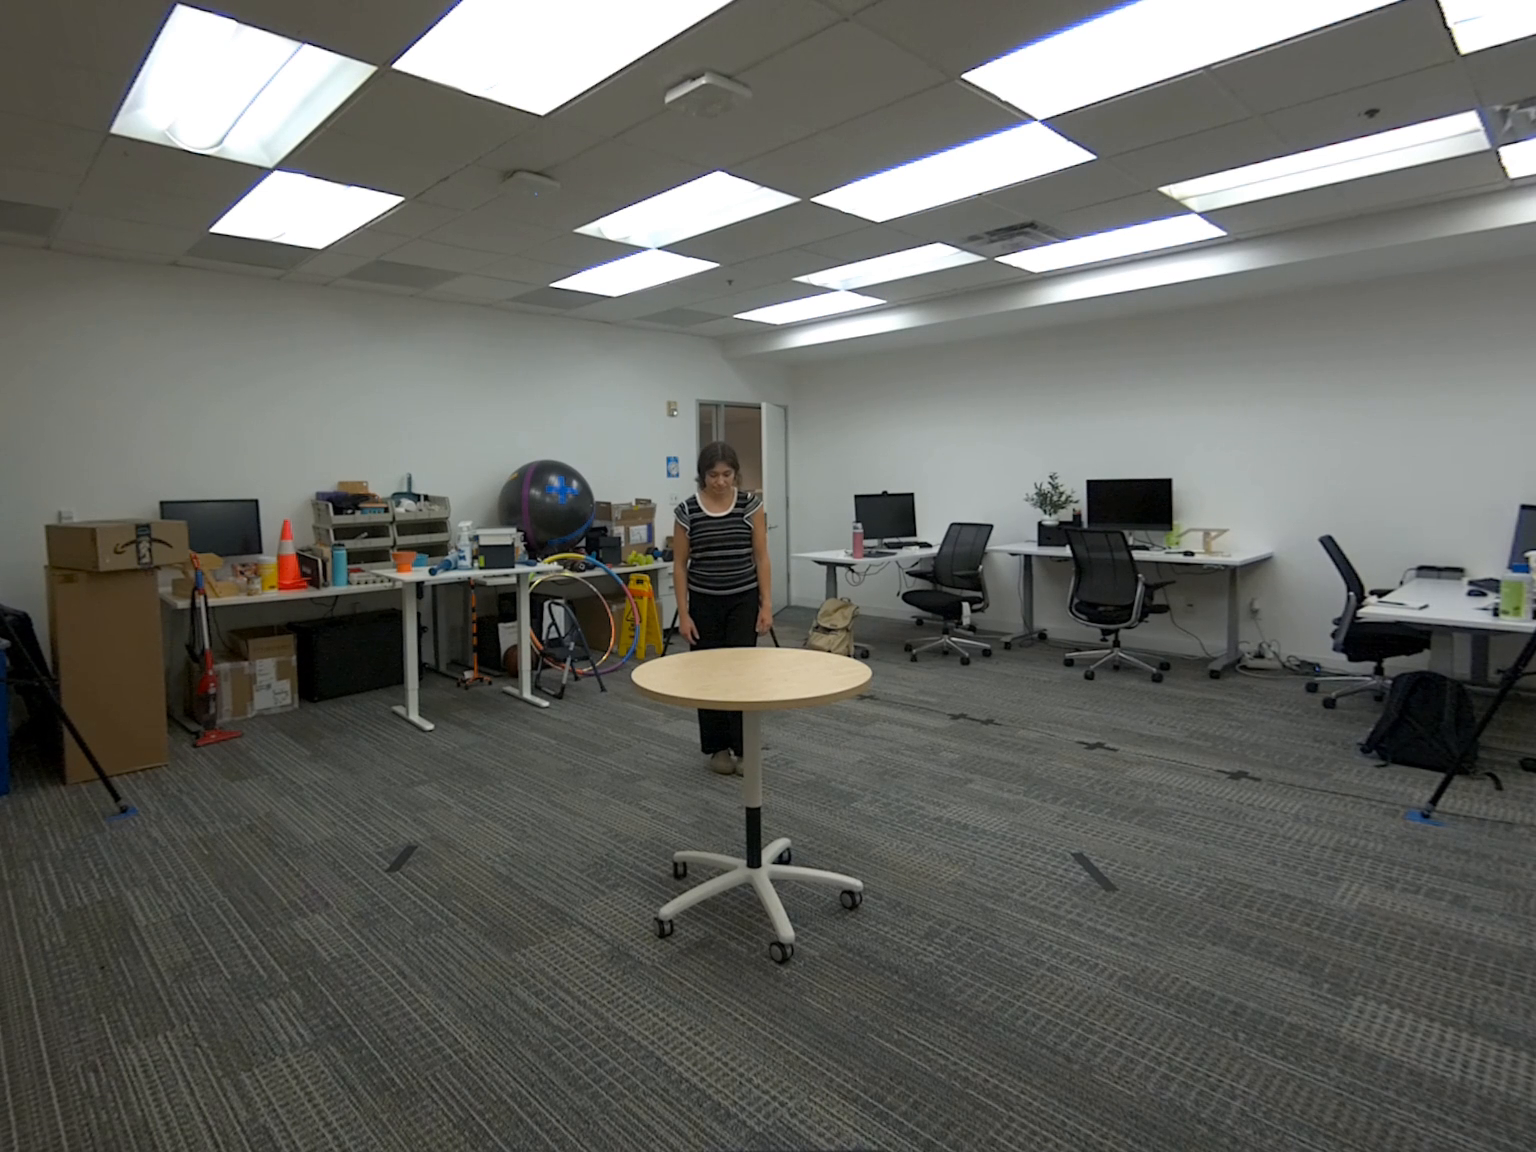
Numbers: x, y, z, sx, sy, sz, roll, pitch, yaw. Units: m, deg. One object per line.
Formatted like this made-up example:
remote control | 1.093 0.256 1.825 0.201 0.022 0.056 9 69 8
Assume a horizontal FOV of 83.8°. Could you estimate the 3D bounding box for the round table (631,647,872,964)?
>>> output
round table | -0.054 0.701 2.765 0.763 0.791 0.768 -1 5 -2
